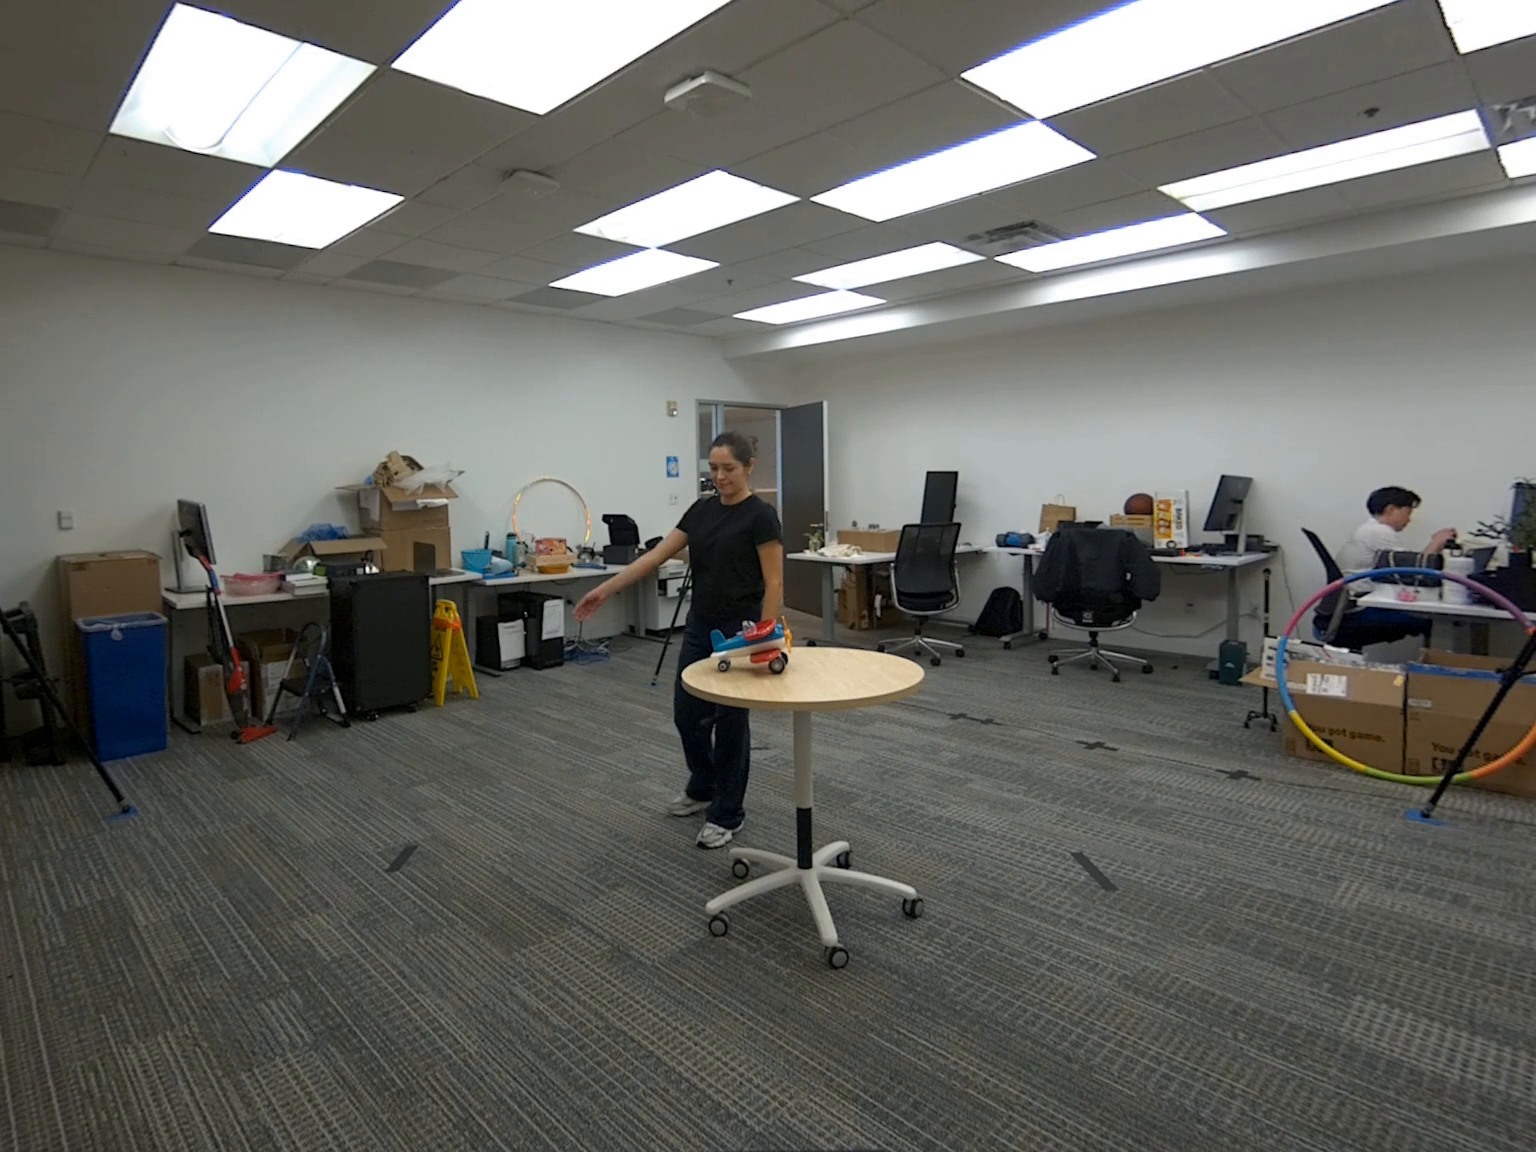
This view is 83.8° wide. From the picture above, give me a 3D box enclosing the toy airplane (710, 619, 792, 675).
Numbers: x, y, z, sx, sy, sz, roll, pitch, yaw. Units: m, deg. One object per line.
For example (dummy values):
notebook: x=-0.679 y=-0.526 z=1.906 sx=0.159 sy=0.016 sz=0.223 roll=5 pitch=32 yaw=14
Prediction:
toy airplane: x=-0.054 y=0.232 z=2.732 sx=0.254 sy=0.156 sz=0.256 roll=-5 pitch=5 yaw=-22
